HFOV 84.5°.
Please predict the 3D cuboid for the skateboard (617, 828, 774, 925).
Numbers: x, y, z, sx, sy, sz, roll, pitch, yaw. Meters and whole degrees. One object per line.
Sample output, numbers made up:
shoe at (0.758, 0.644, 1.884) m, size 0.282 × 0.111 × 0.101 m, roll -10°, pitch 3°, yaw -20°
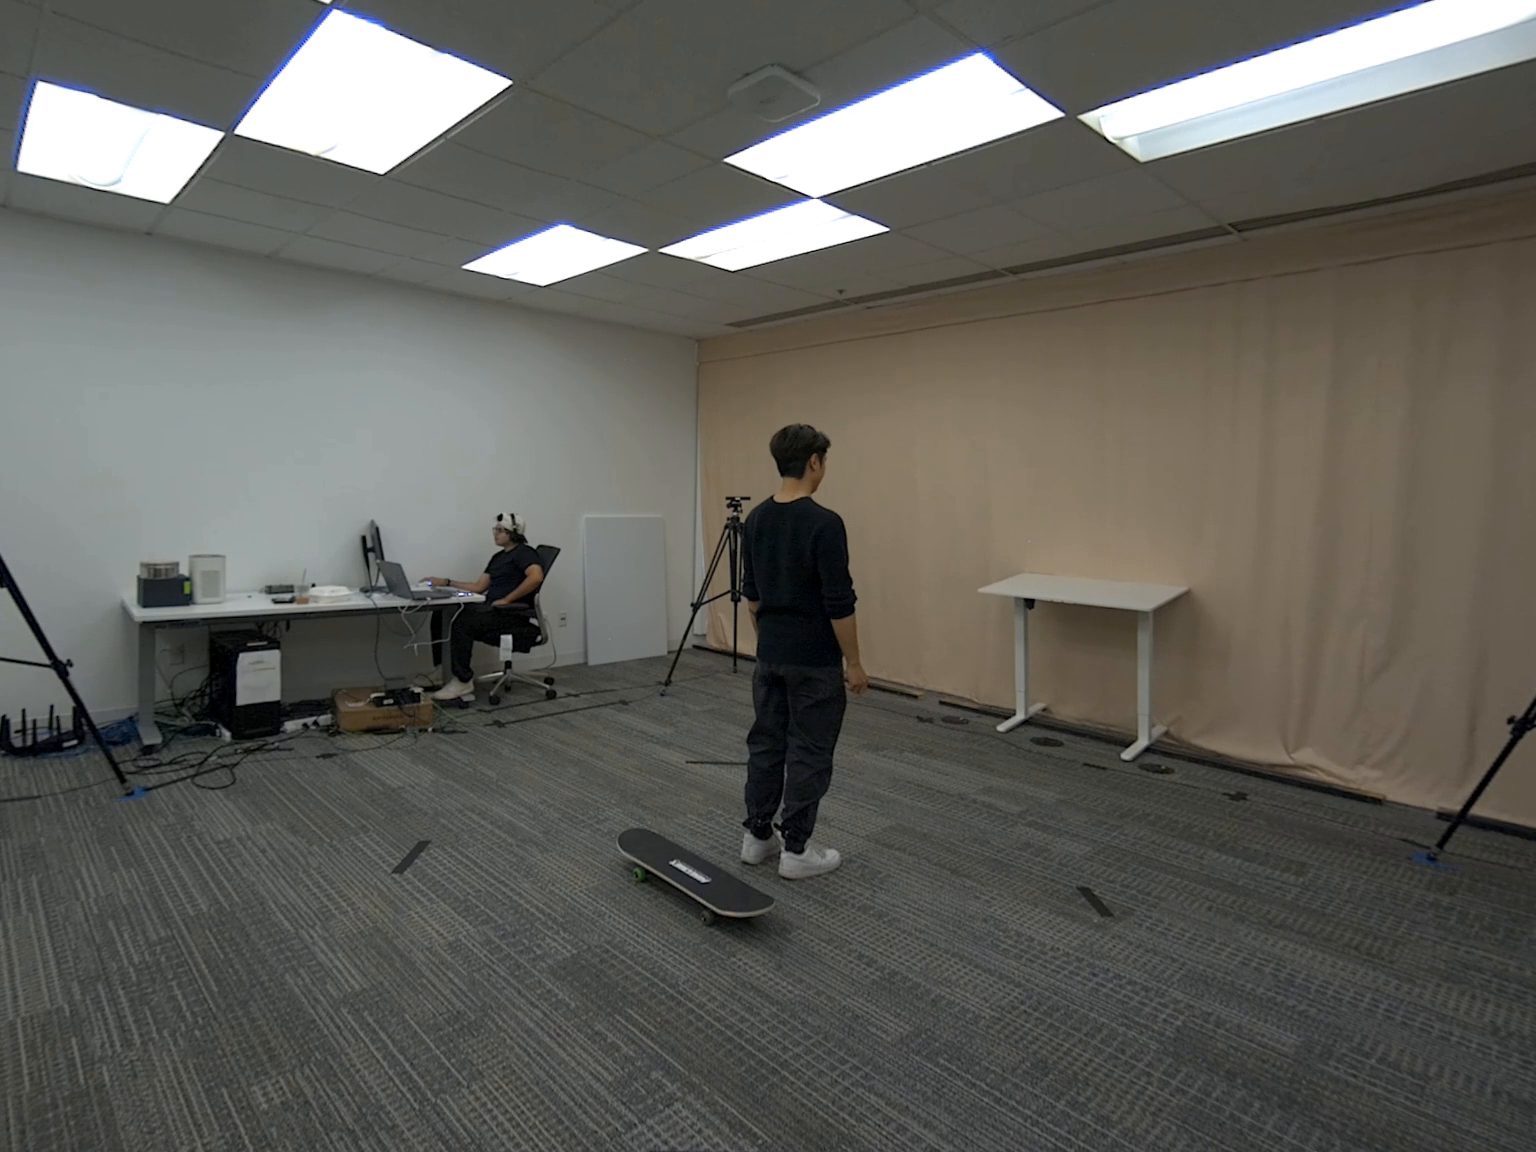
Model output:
skateboard at (-0.285, 1.062, 2.945) m, size 0.189 × 0.110 × 0.806 m, roll -4°, pitch 7°, yaw -41°
